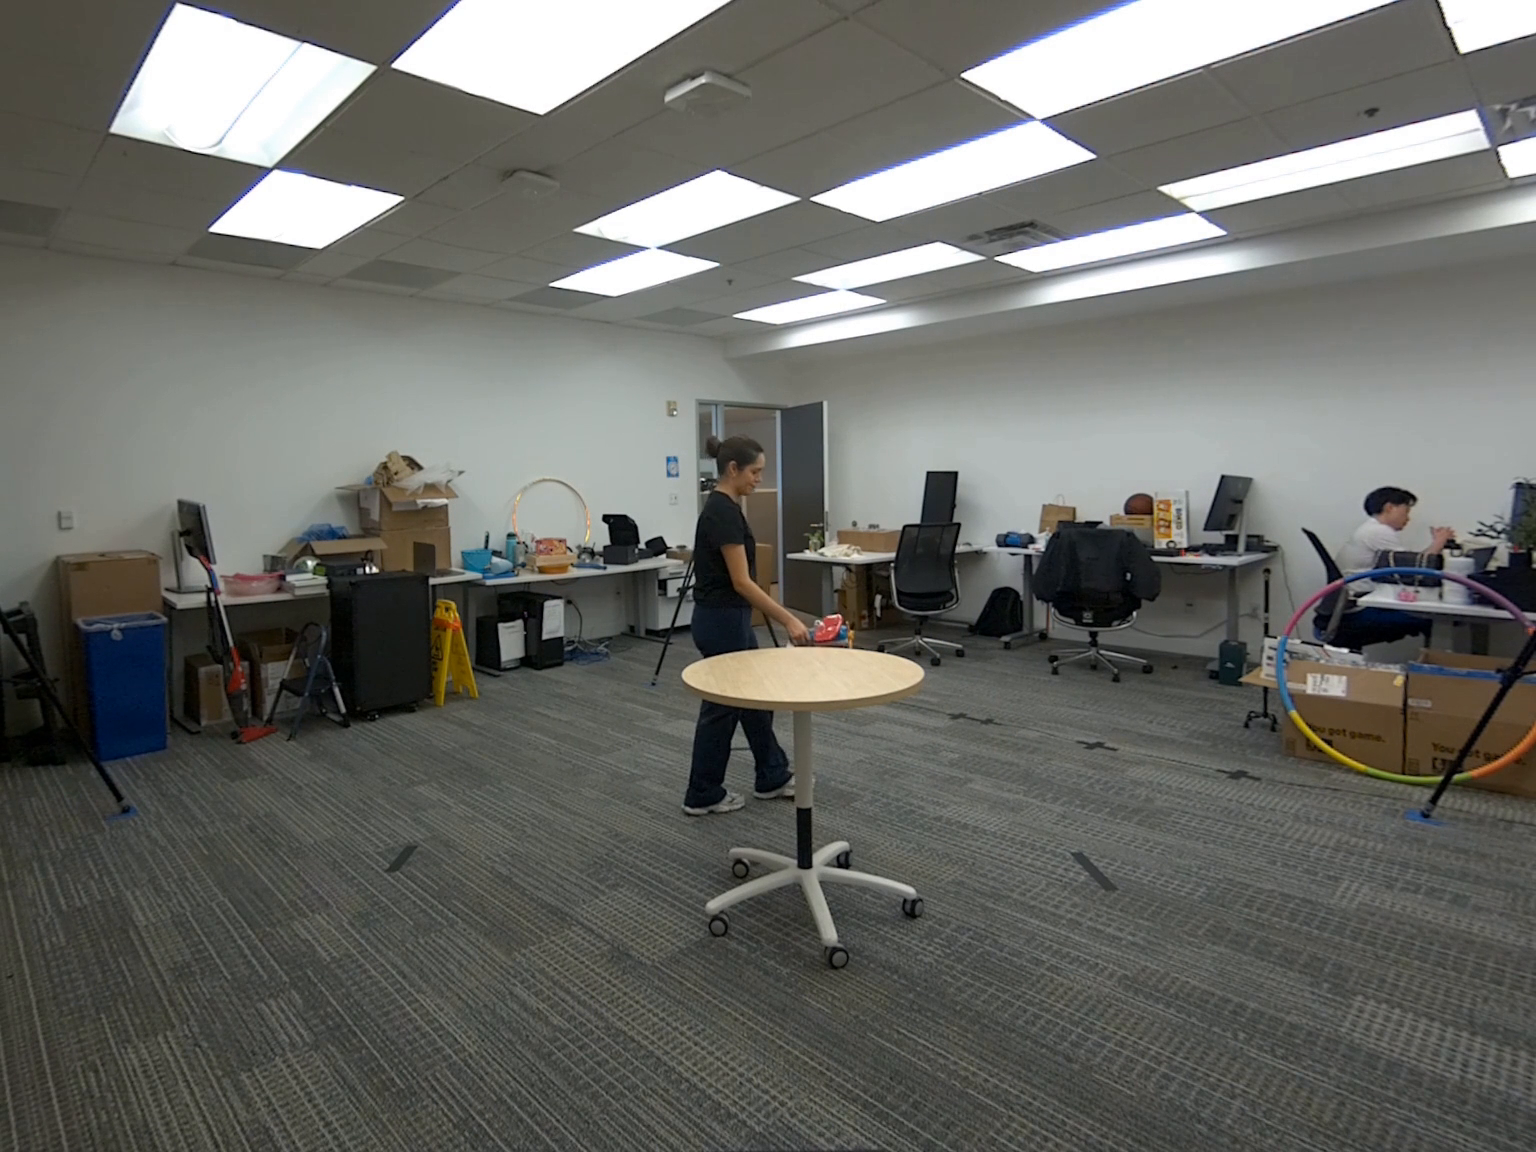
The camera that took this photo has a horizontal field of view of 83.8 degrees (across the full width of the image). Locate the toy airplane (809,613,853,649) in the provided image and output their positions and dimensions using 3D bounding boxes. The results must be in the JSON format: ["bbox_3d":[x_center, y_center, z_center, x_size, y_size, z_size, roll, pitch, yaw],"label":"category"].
[{"bbox_3d":[0.209,0.261,3.369,0.256,0.154,0.258,-4,20,-12],"label":"toy airplane"}]
